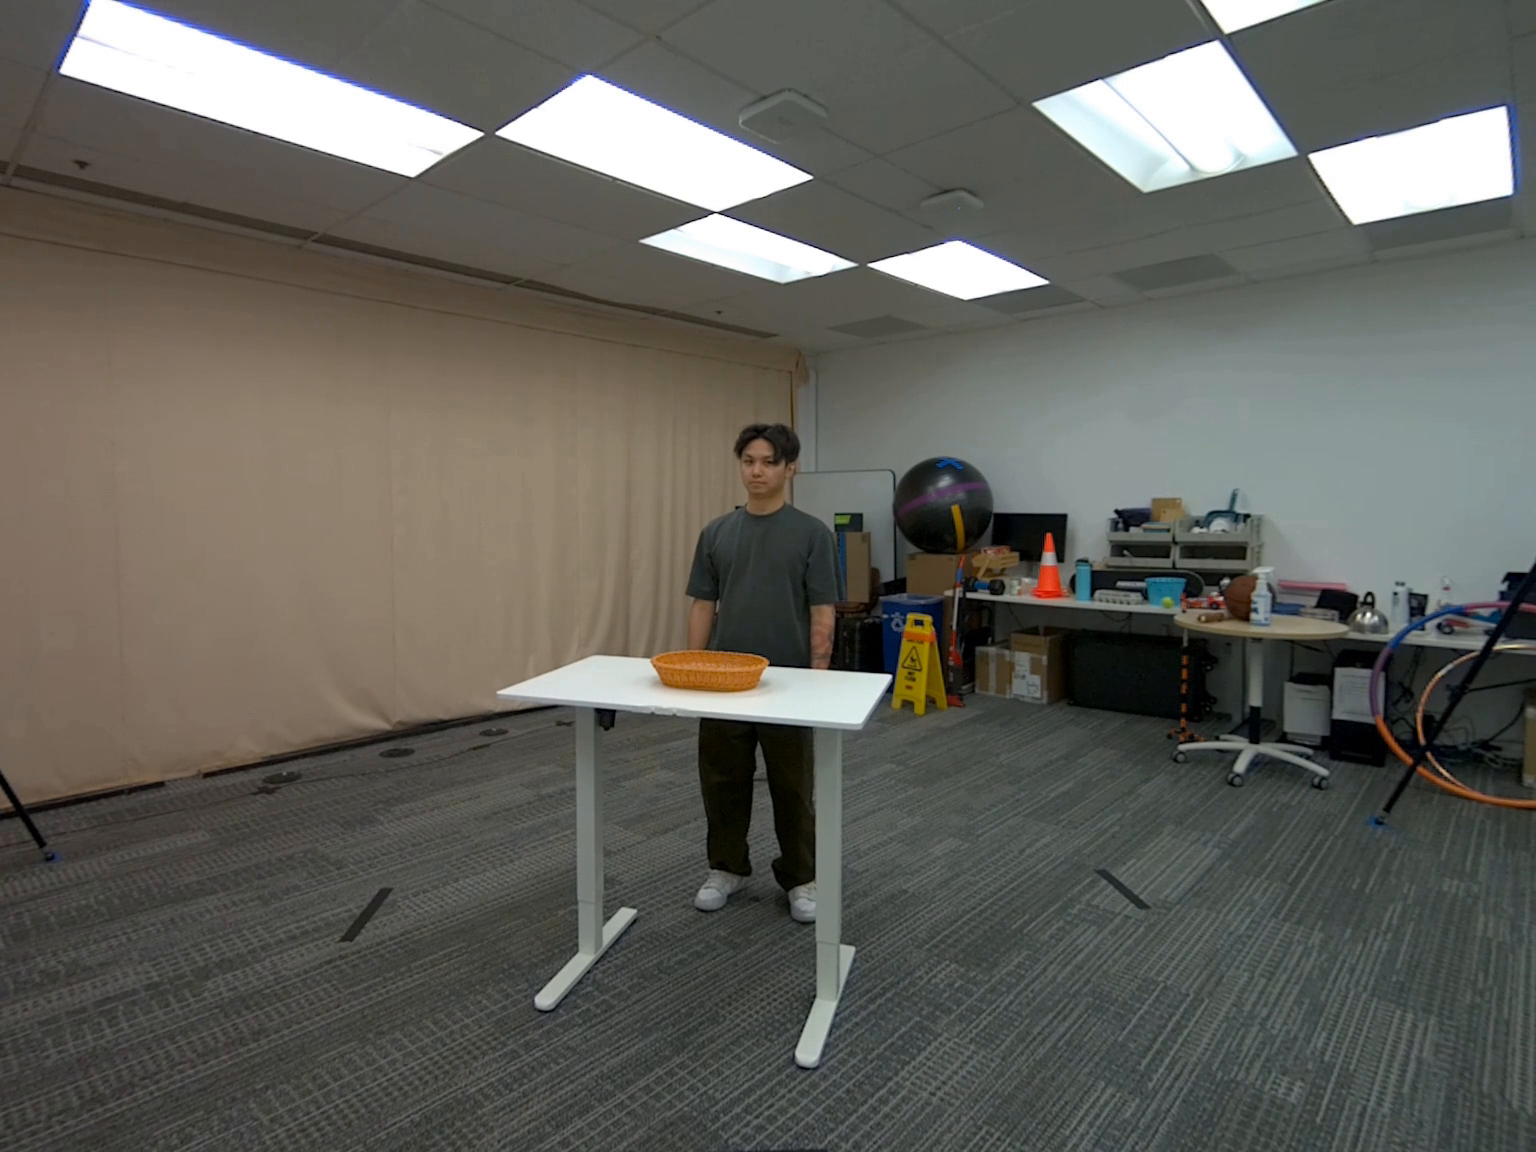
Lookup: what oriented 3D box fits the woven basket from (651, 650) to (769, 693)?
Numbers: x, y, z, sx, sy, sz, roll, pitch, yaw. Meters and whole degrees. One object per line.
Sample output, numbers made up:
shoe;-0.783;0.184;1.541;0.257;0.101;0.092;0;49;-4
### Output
woven basket;-0.167;0.282;2.414;0.359;0.073;0.247;2;5;24
